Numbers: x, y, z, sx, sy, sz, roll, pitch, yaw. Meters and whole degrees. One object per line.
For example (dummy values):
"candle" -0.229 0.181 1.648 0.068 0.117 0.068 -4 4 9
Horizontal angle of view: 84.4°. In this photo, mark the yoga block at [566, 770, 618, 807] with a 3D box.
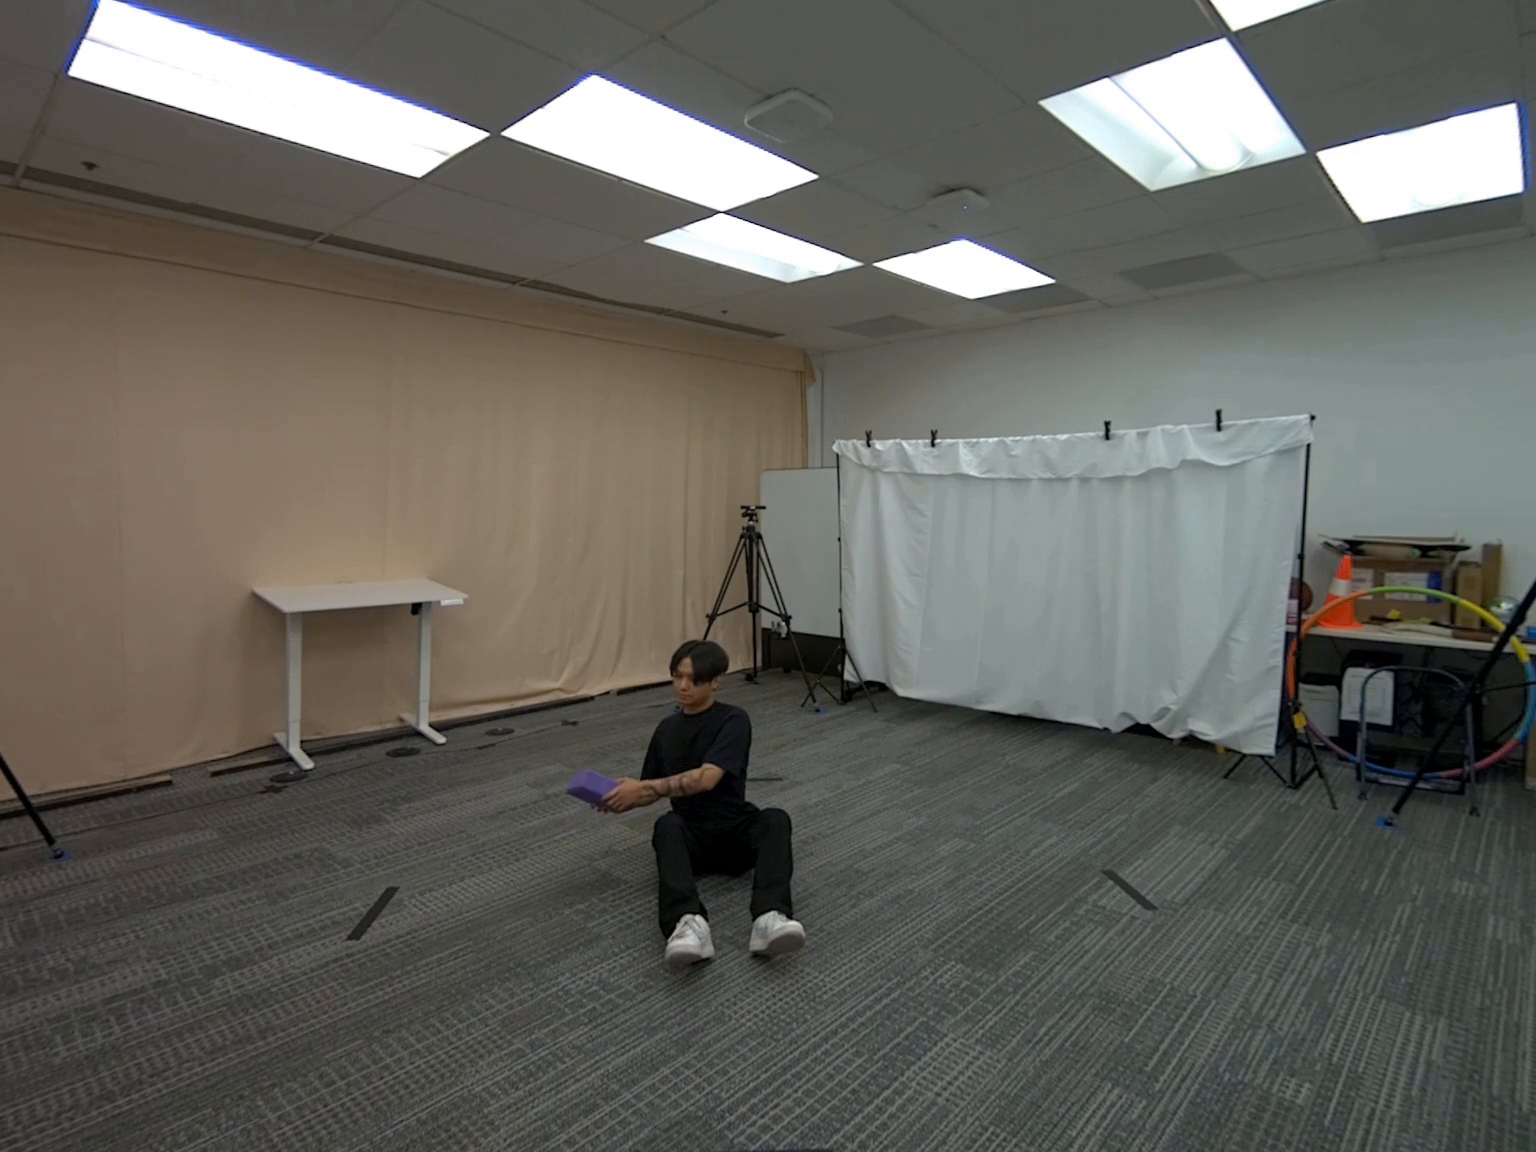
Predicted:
"yoga block" -0.605 0.803 3.130 0.223 0.077 0.151 29 -34 -22
